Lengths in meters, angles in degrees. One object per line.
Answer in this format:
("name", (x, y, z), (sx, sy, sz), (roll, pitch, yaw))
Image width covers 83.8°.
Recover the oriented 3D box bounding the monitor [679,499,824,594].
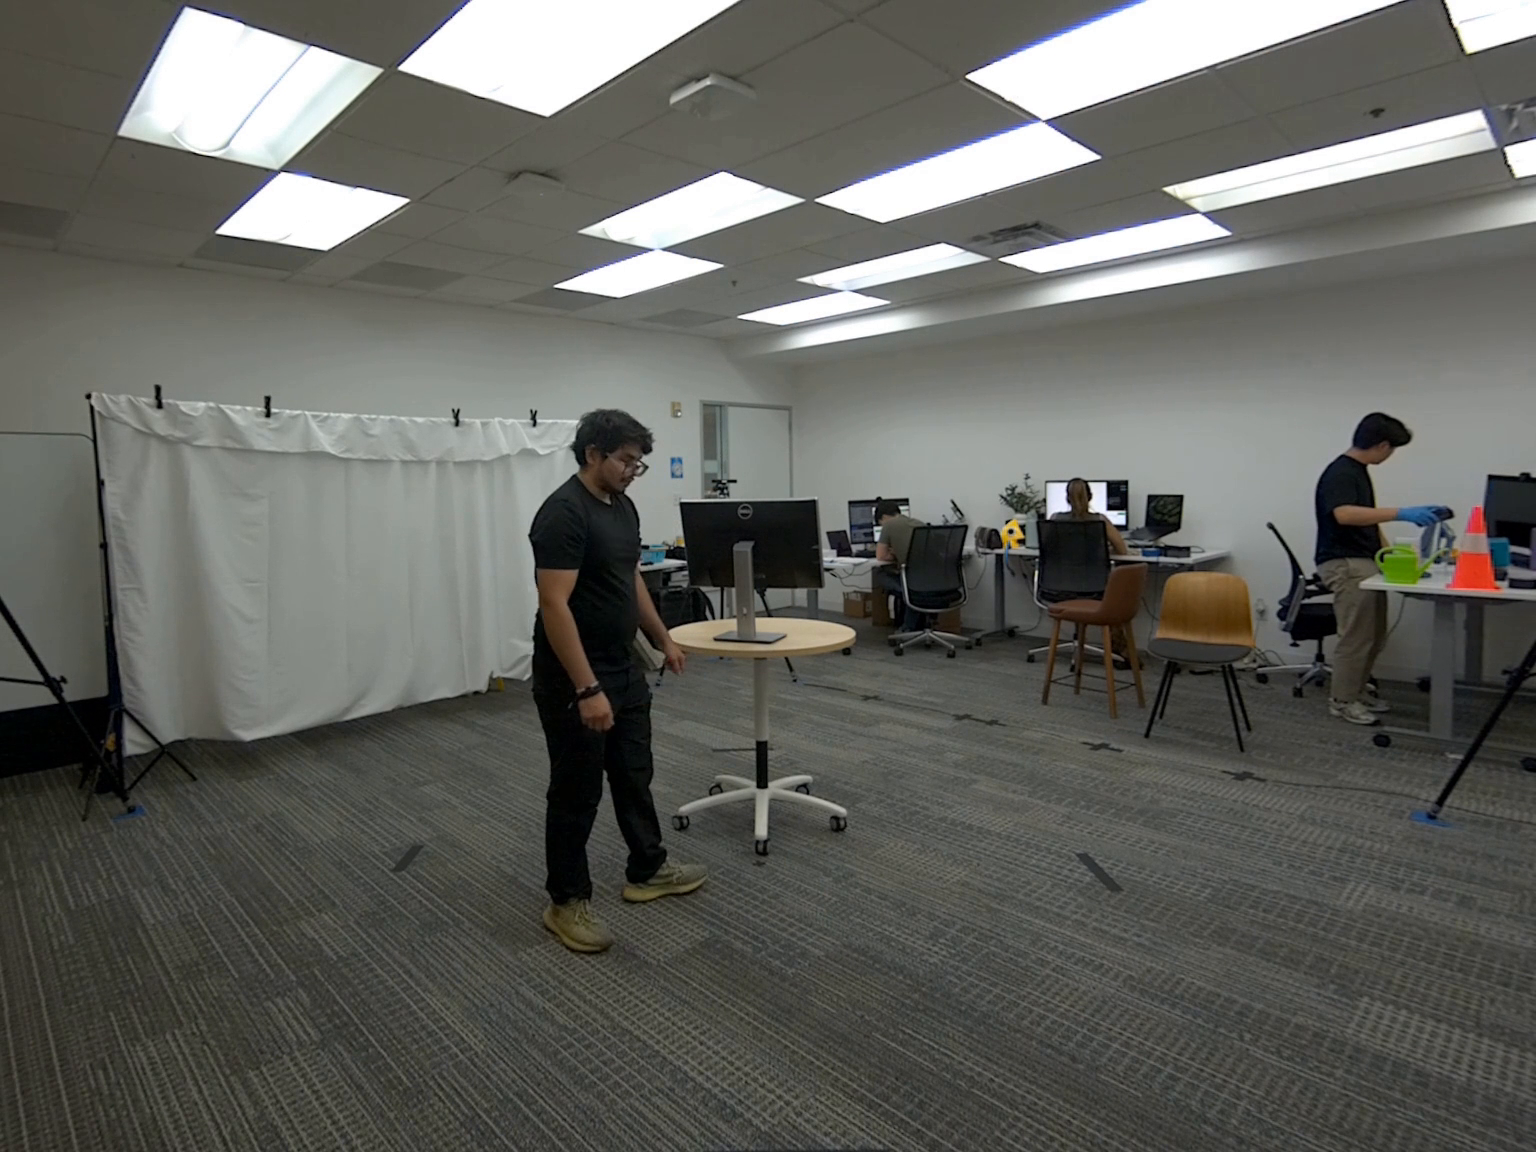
("monitor", (-0.082, -0.020, 3.292), (0.576, 0.549, 0.208), (1, 10, 20))
